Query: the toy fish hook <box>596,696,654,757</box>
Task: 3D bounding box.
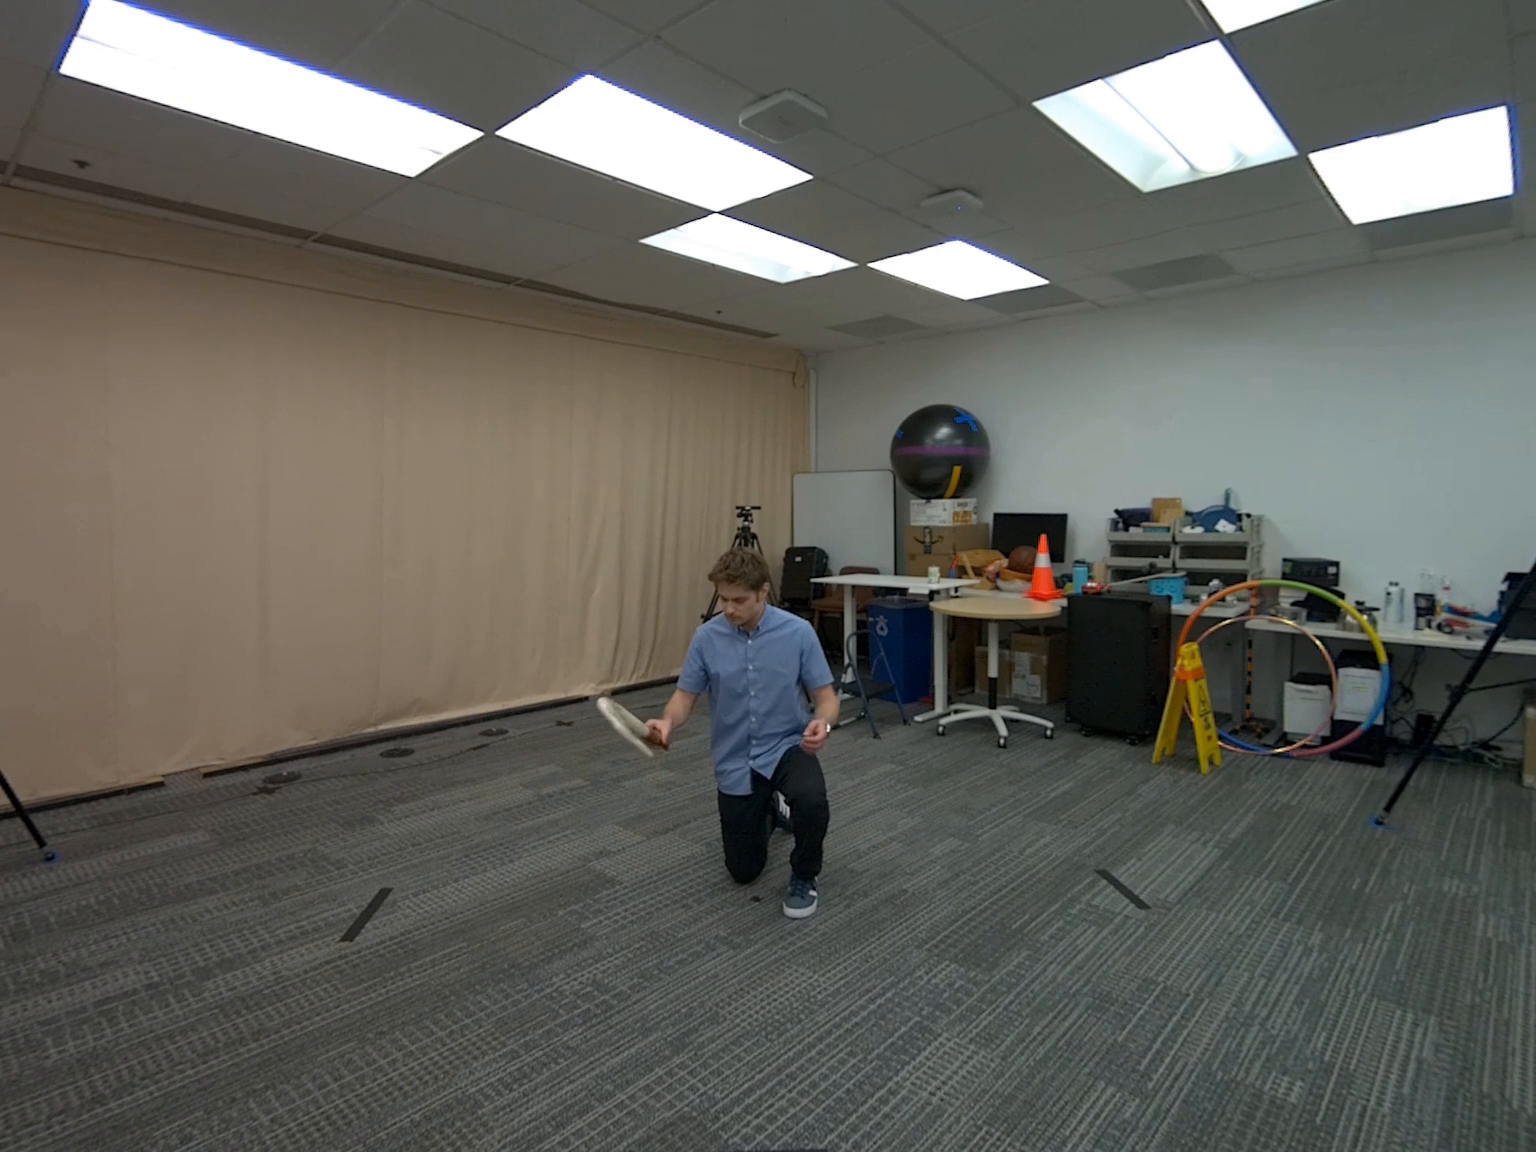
[{"bbox_3d":[-0.392,0.523,2.674,0.048,0.232,0.491,-39,-31,-1],"label":"toy fish hook"}]
